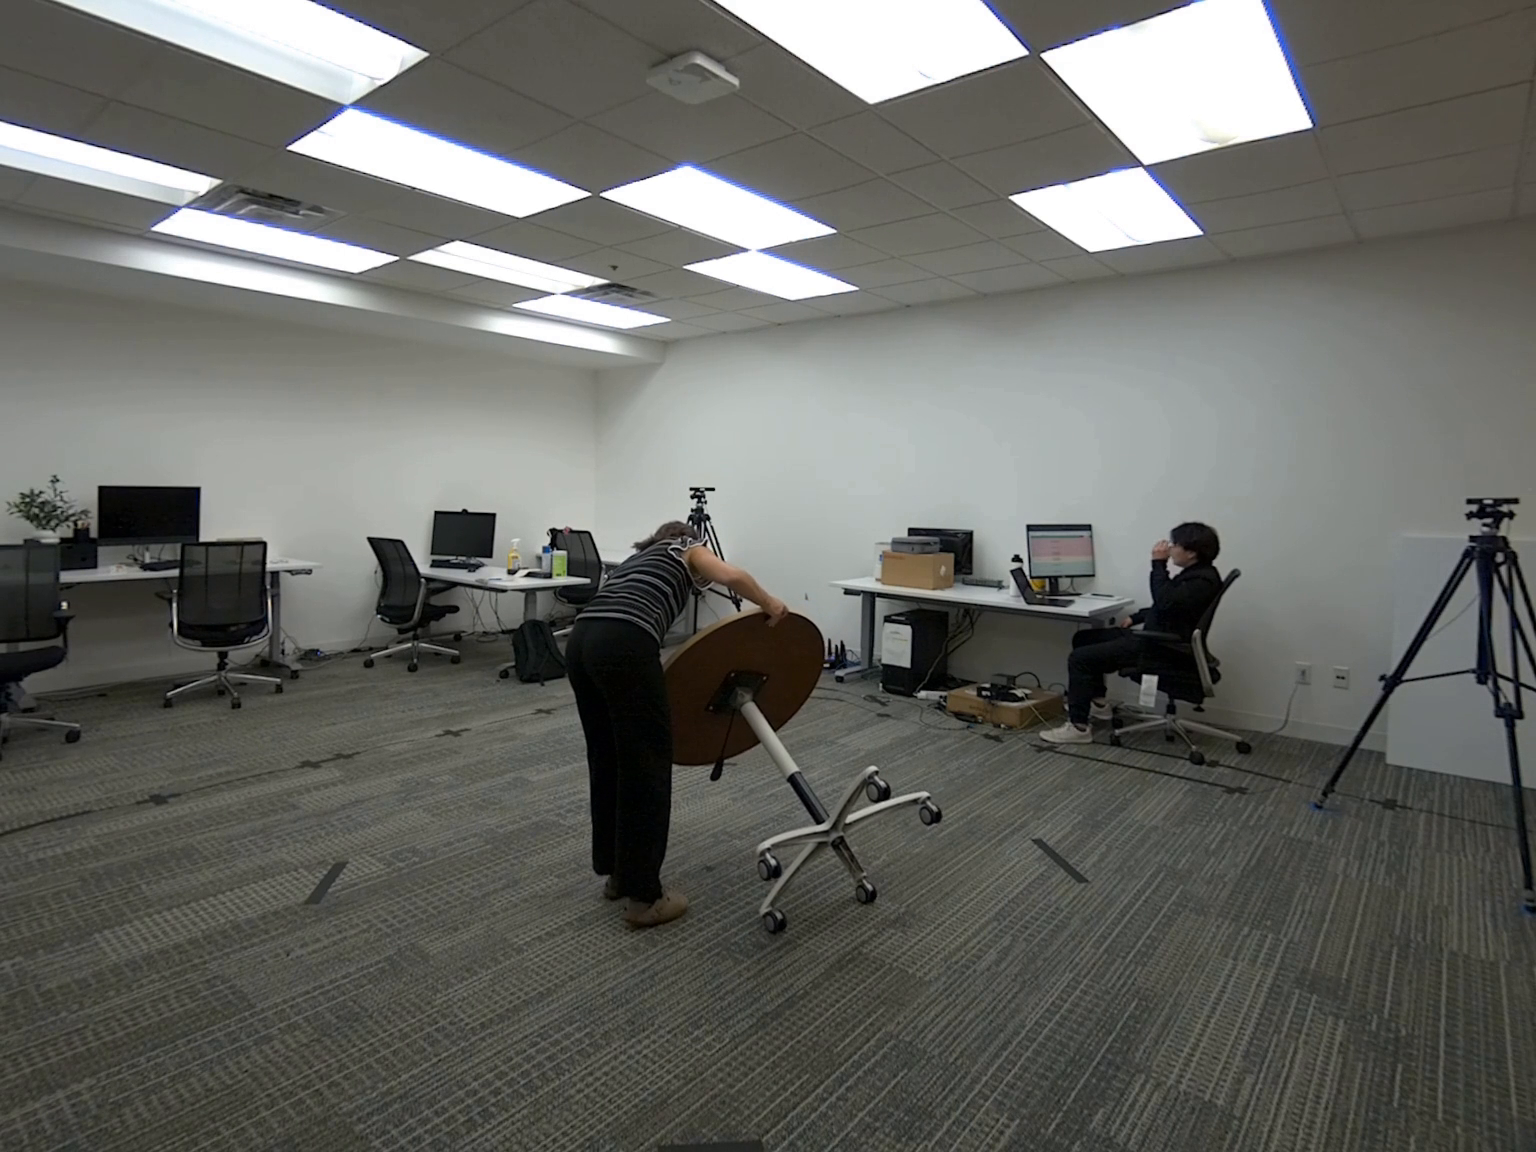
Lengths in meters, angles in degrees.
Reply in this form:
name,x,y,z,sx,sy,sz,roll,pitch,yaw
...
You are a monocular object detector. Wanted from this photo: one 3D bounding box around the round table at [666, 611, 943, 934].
name,x,y,z,sx,sy,sz,roll,pitch,yaw
round table,0.060,0.649,2.893,0.742,0.753,0.828,-2,36,-34
